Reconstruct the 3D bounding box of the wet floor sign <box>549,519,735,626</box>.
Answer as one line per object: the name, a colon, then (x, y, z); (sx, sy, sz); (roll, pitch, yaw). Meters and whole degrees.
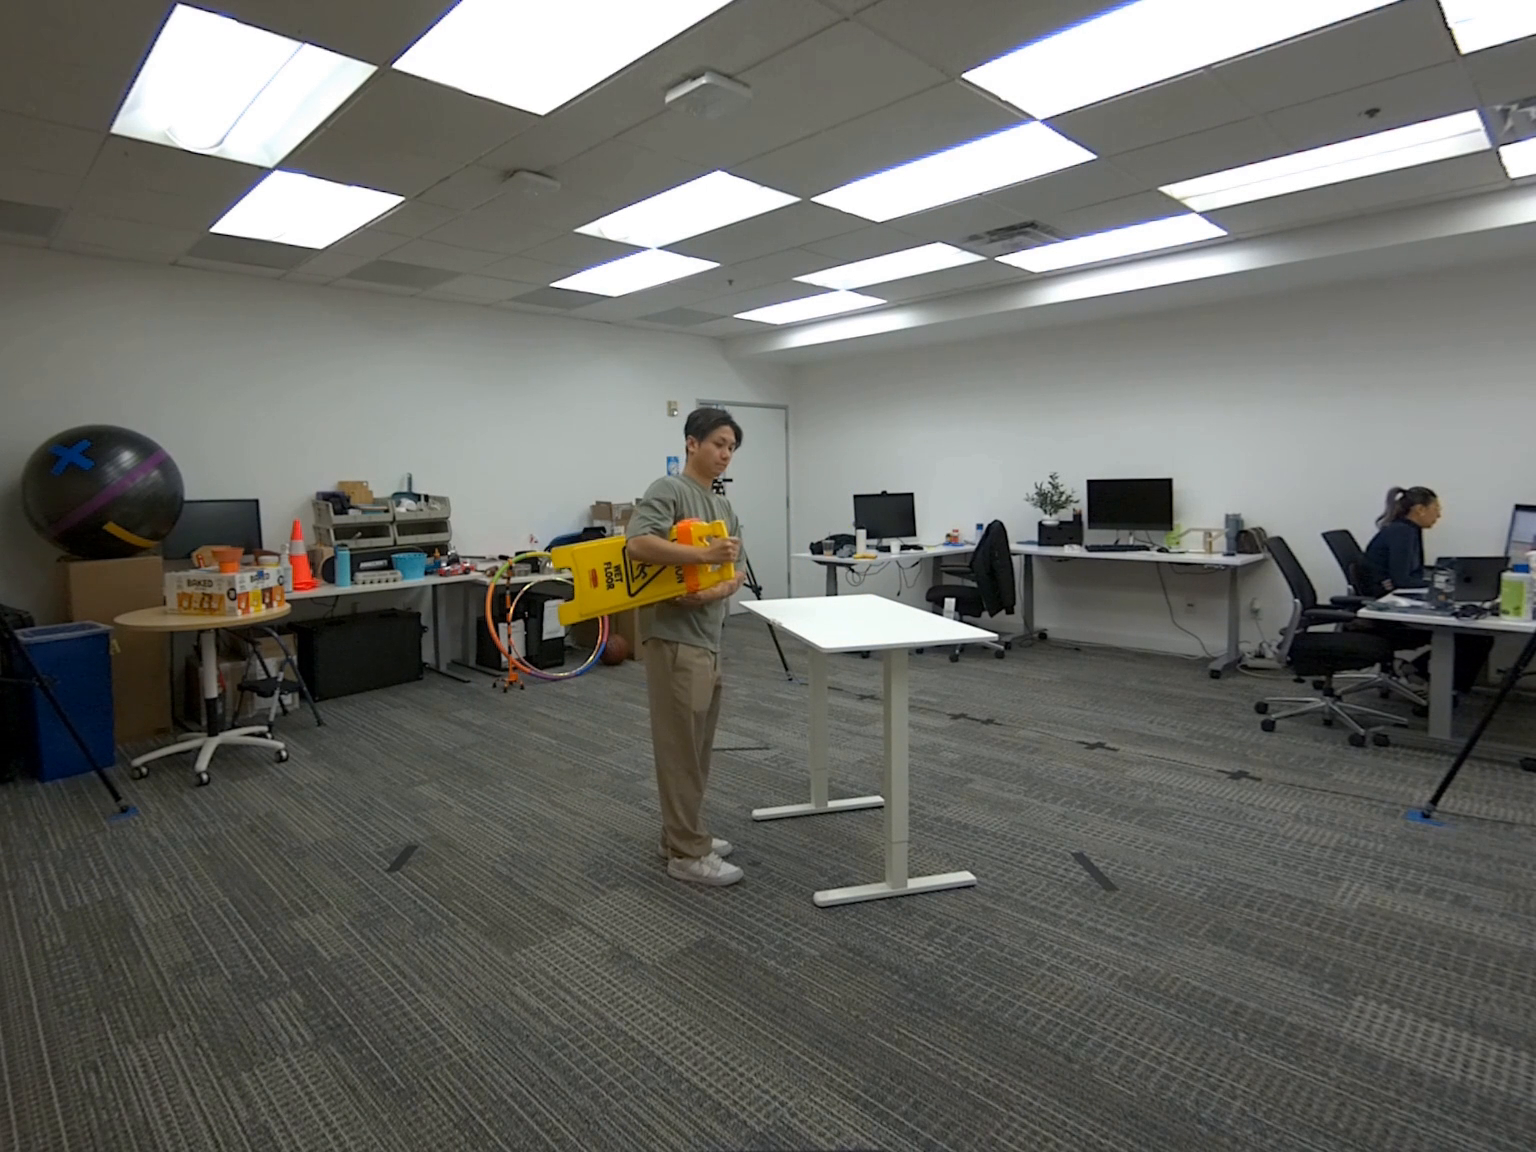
wet floor sign: (-0.417, -0.028, 2.952); (0.658, 0.284, 0.282); (-11, -7, 27)
